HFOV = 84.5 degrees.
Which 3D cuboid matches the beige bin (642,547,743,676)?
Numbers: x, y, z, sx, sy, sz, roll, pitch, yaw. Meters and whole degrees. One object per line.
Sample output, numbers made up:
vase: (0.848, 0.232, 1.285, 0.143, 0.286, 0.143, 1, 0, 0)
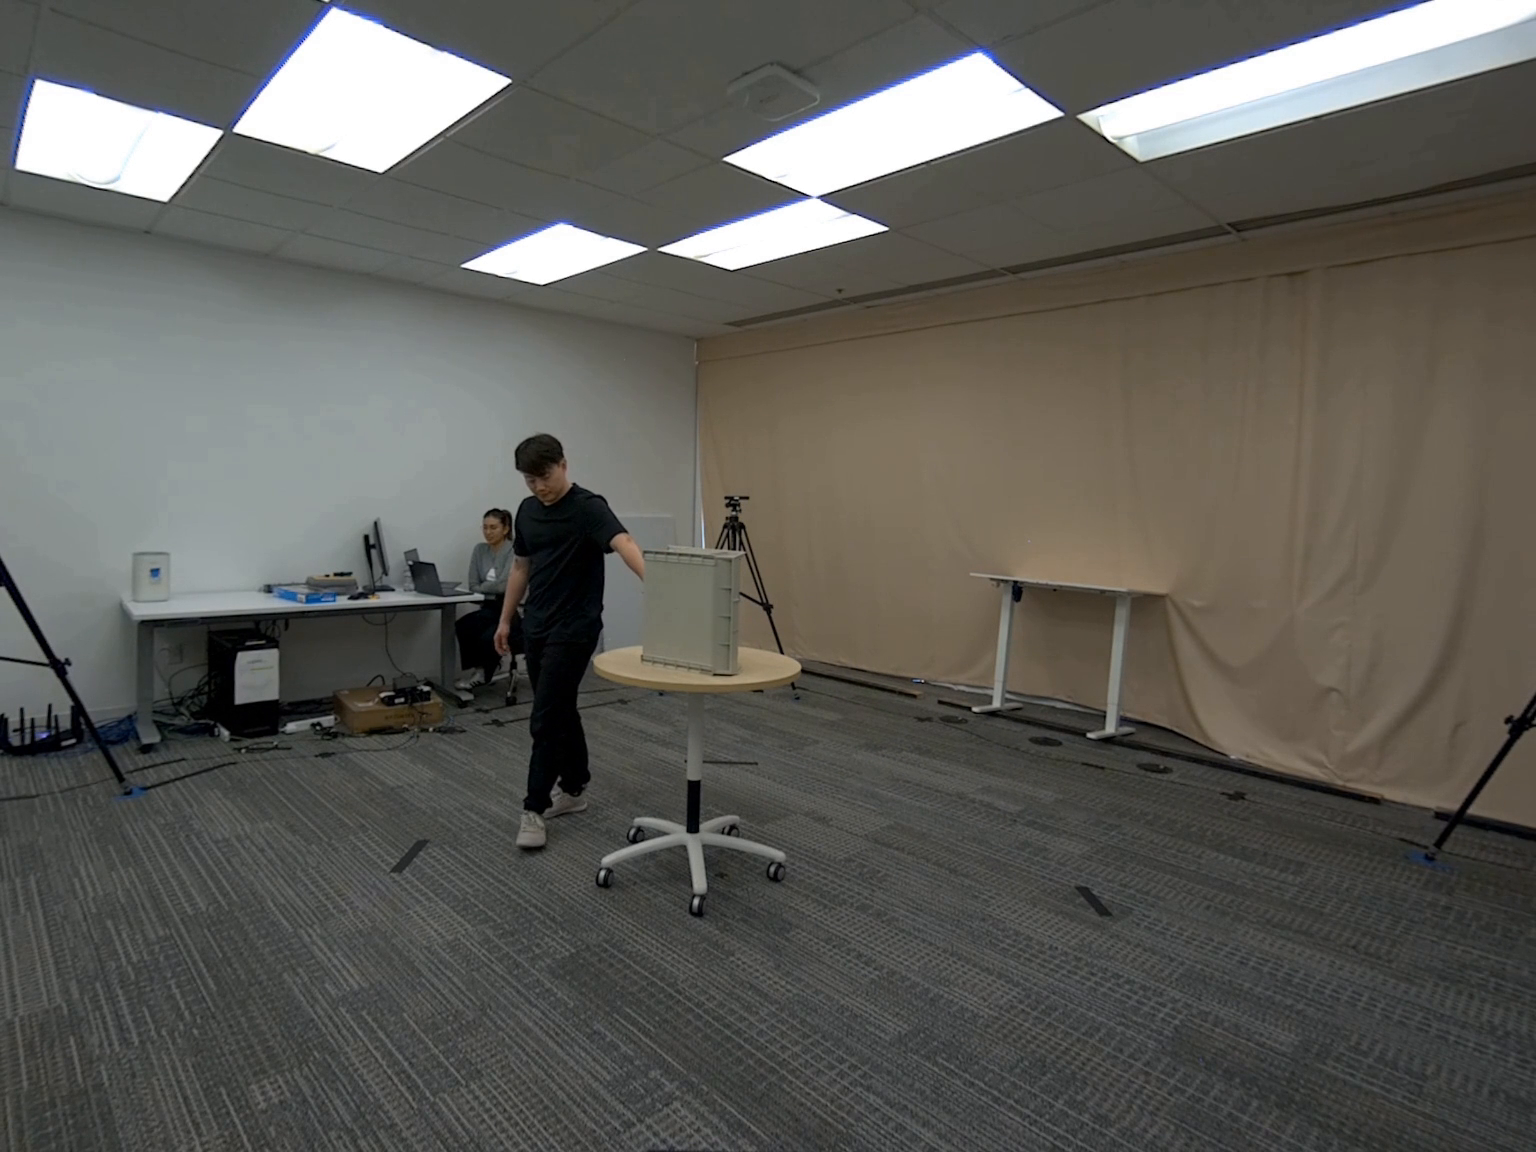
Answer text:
beige bin: (-0.265, 0.119, 2.999, 0.386, 0.421, 0.185, 5, 6, 32)
